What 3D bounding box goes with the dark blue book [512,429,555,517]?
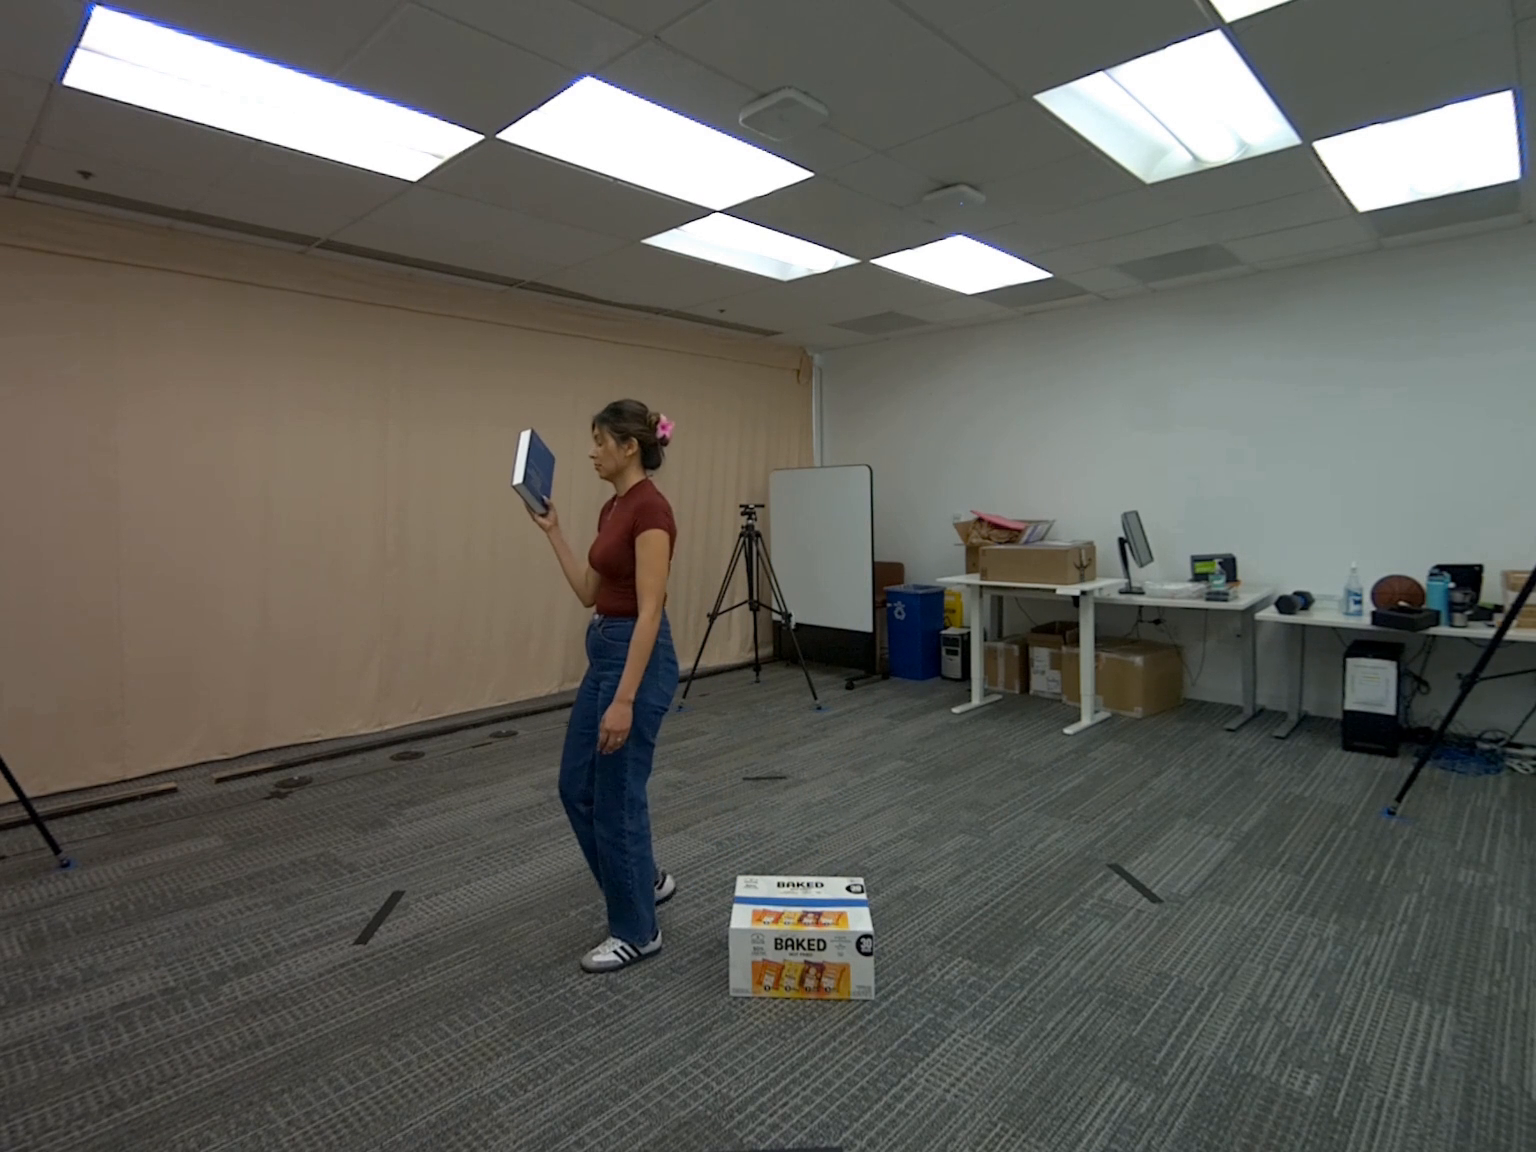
[{"bbox_3d":[-0.763,-0.342,2.746,0.046,0.250,0.158,-15,-39,12],"label":"dark blue book"}]
